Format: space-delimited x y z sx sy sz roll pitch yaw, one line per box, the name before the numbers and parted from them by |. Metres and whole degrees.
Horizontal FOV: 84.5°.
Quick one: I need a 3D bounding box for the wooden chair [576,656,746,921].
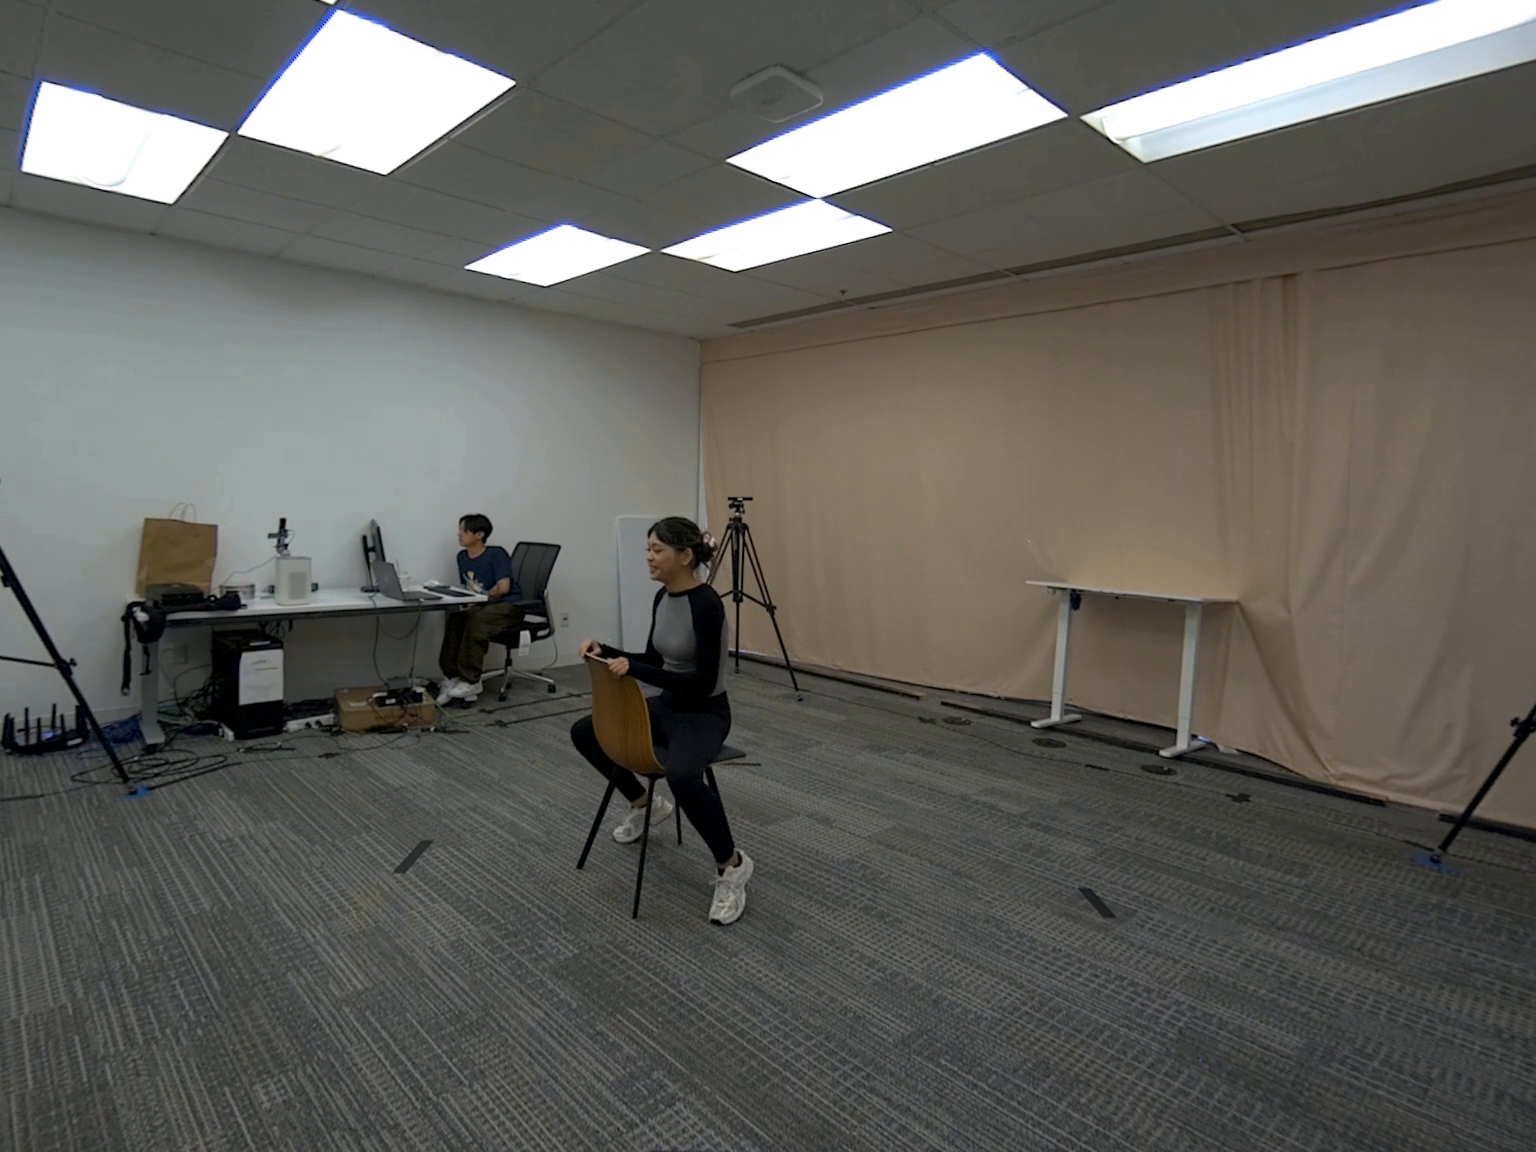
wooden chair | -0.387 0.681 3.058 0.513 0.873 0.490 -7 7 -35
